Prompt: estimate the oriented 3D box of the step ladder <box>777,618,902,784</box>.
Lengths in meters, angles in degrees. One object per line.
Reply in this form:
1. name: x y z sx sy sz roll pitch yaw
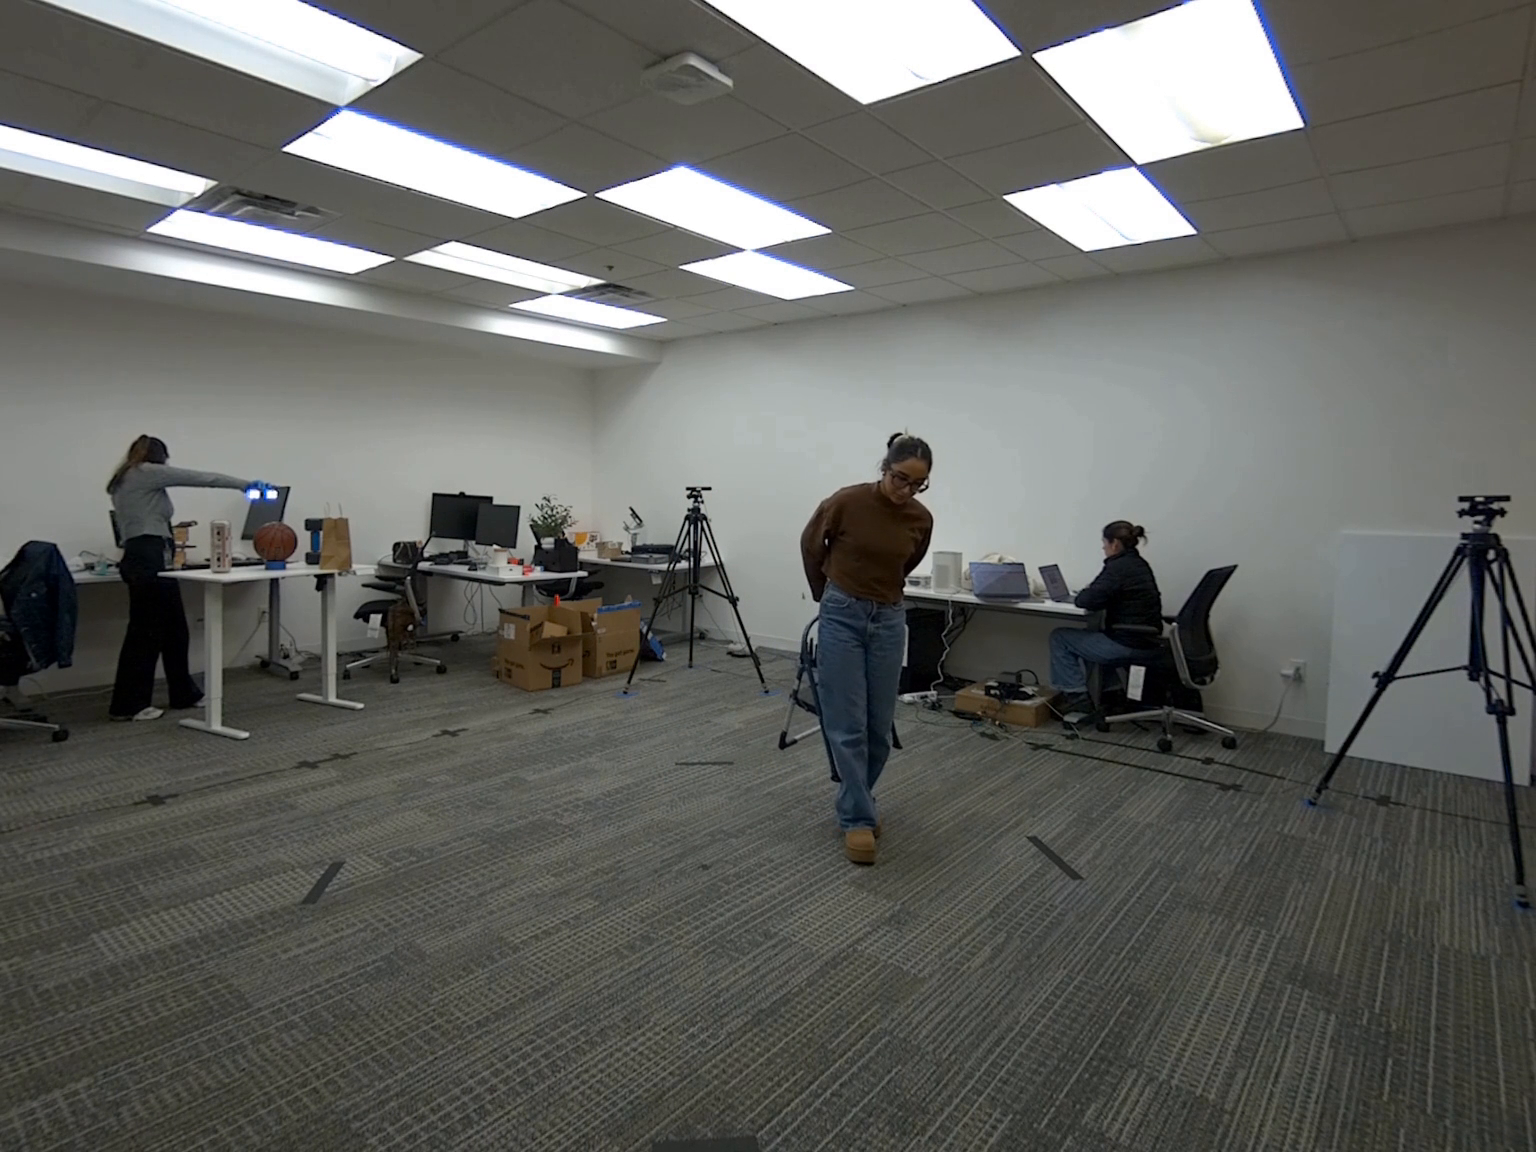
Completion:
1. step ladder: 0.300 0.452 3.588 0.420 0.598 0.363 -13 20 -41
